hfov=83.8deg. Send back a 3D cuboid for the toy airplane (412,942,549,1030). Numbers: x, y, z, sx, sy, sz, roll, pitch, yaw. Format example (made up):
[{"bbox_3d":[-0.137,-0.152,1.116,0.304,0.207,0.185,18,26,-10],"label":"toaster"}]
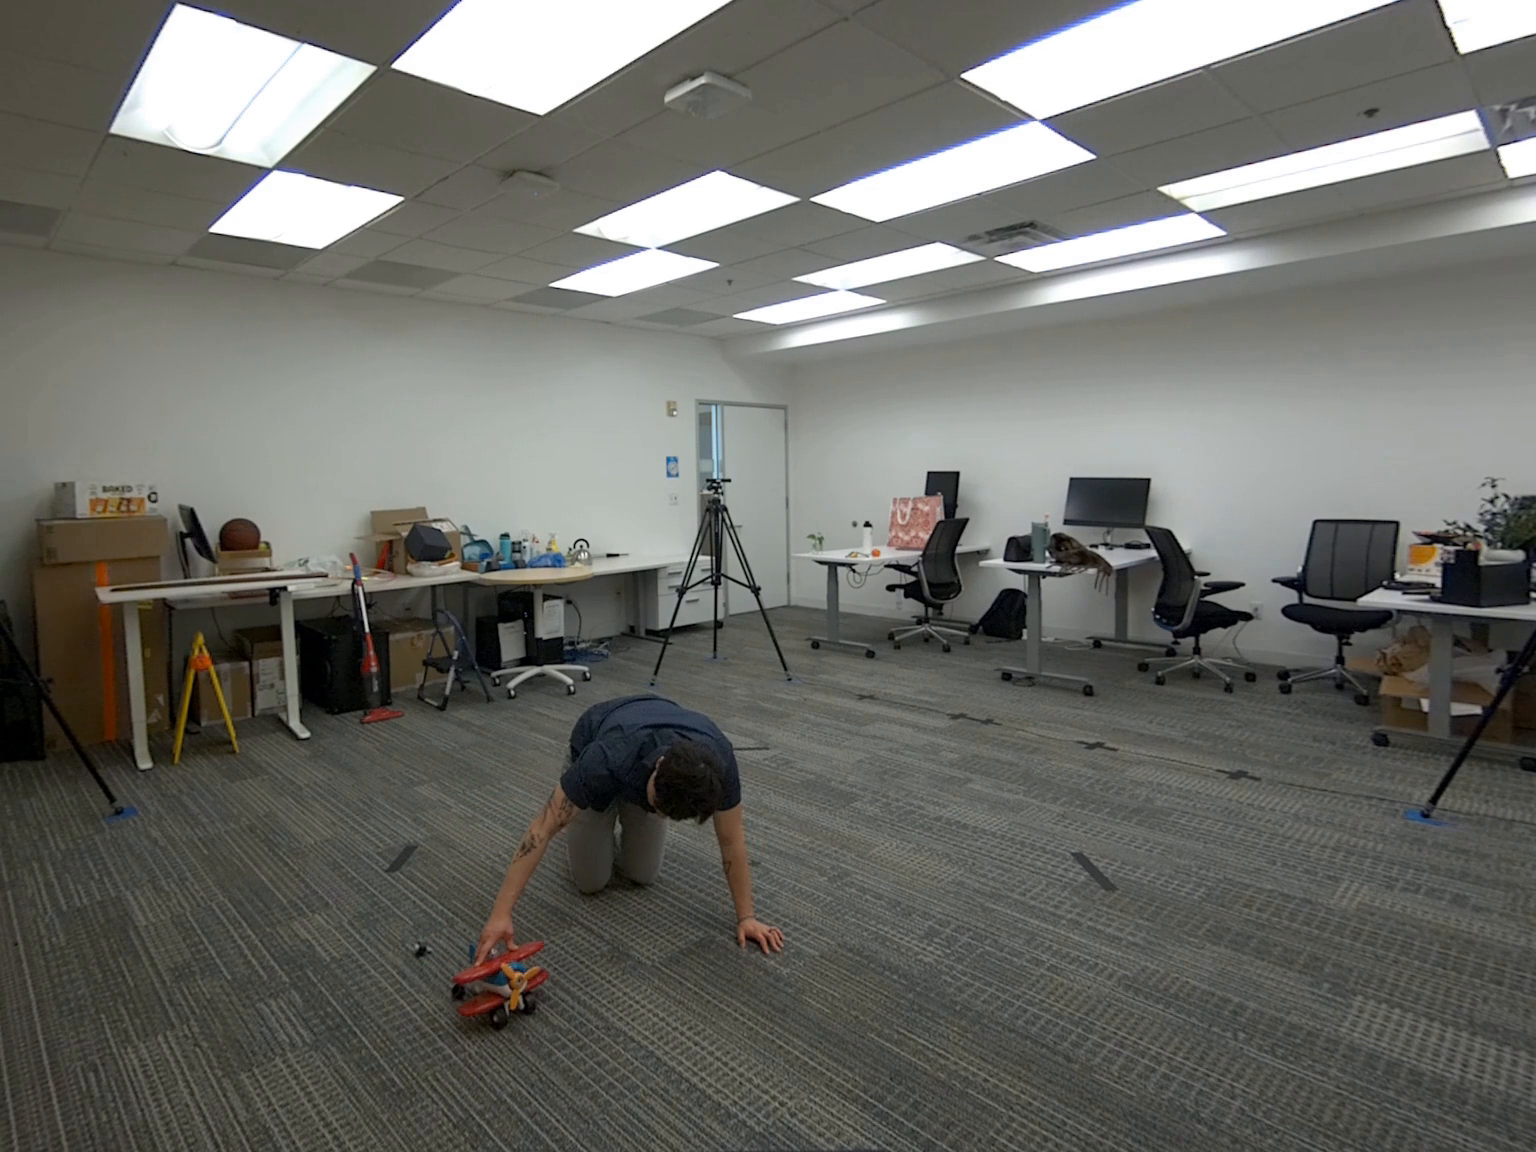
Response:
[{"bbox_3d":[-0.749,1.092,2.275,0.263,0.156,0.247,2,3,16],"label":"toy airplane"}]
